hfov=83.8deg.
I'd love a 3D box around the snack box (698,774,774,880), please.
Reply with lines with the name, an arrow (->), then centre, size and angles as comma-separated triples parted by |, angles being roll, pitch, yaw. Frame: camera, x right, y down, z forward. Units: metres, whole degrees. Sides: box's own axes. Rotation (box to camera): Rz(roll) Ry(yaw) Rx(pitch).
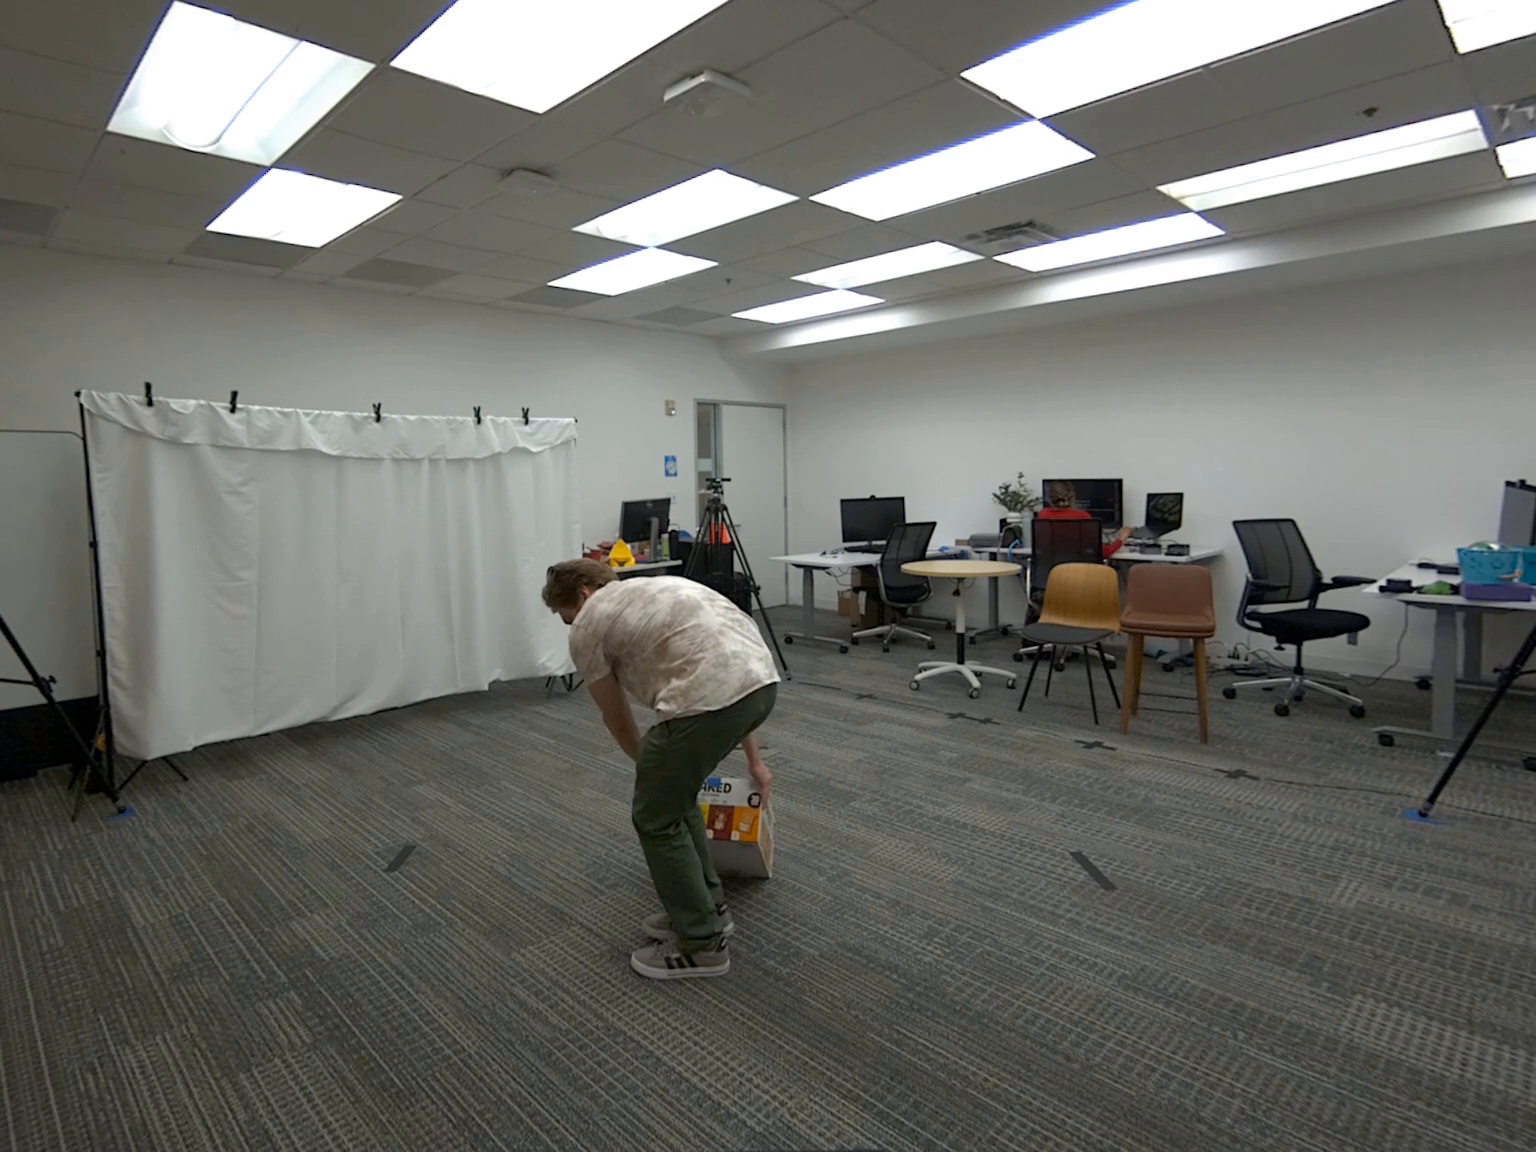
snack box -> -0.165, 0.862, 2.922 | 0.344, 0.210, 0.392 | 1, -35, 10
